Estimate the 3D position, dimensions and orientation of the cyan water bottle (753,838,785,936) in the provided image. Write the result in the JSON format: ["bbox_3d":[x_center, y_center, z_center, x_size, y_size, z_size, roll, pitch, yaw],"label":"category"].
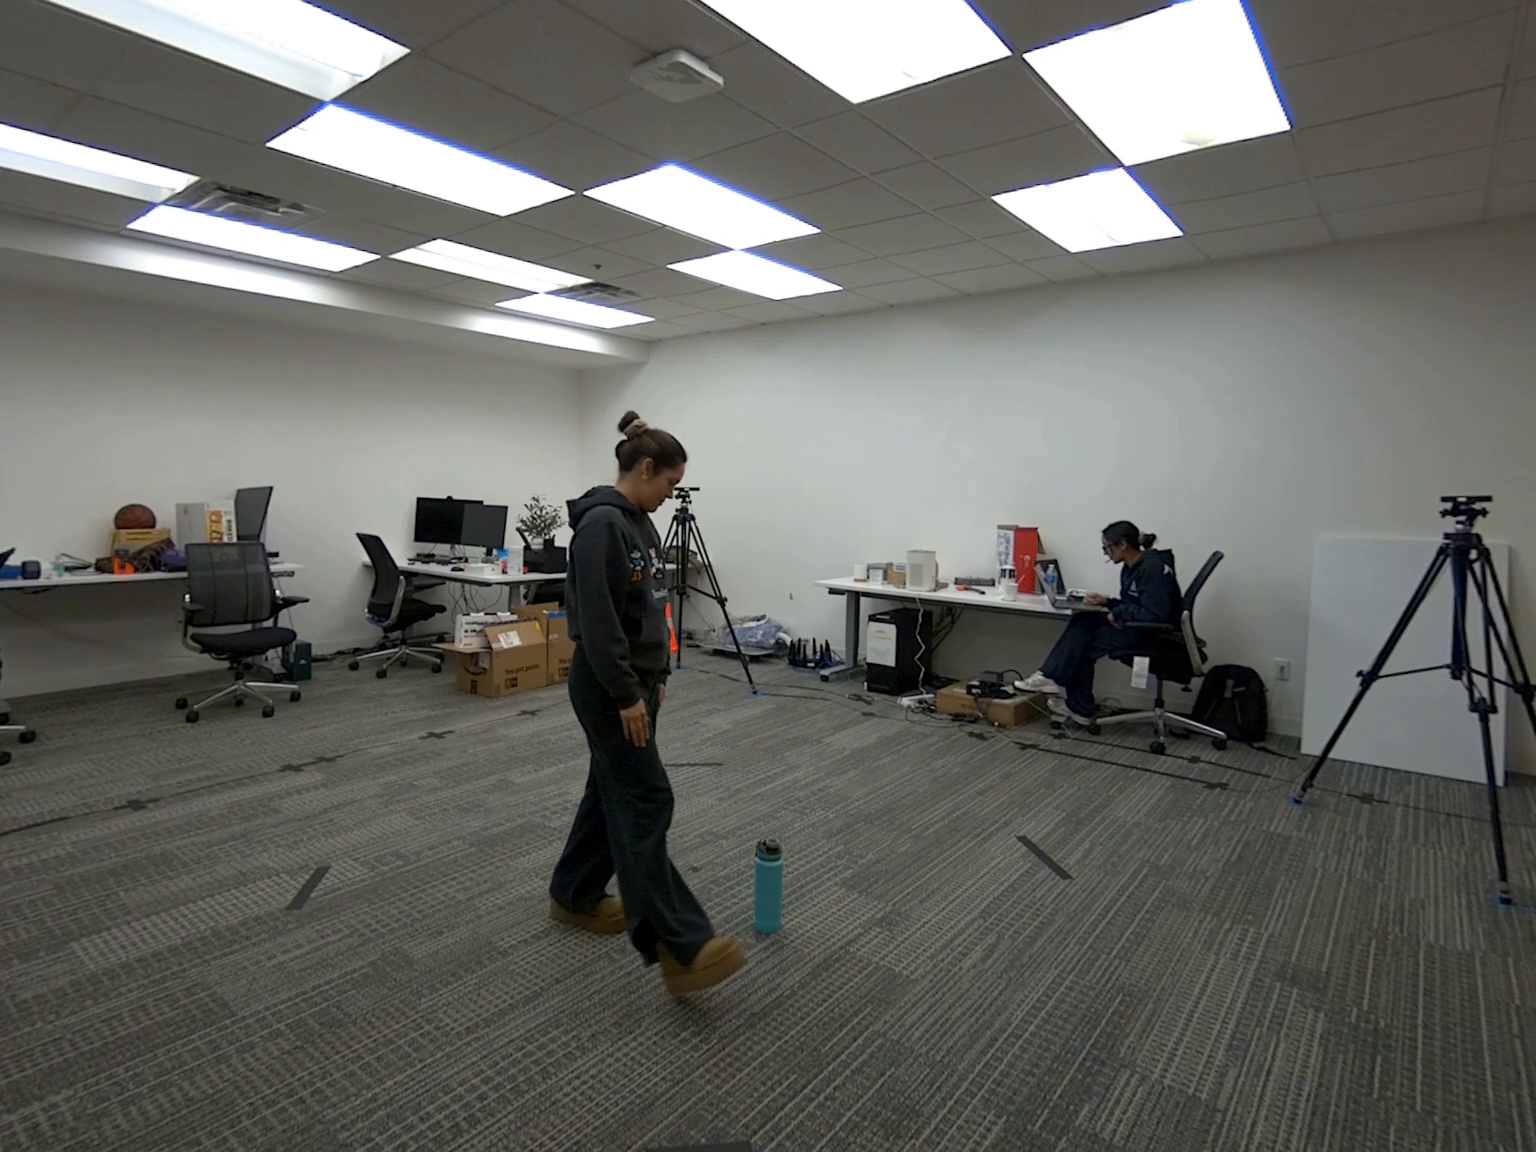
[{"bbox_3d":[0.006,0.975,2.689,0.092,0.283,0.093,1,3,-2],"label":"cyan water bottle"}]
